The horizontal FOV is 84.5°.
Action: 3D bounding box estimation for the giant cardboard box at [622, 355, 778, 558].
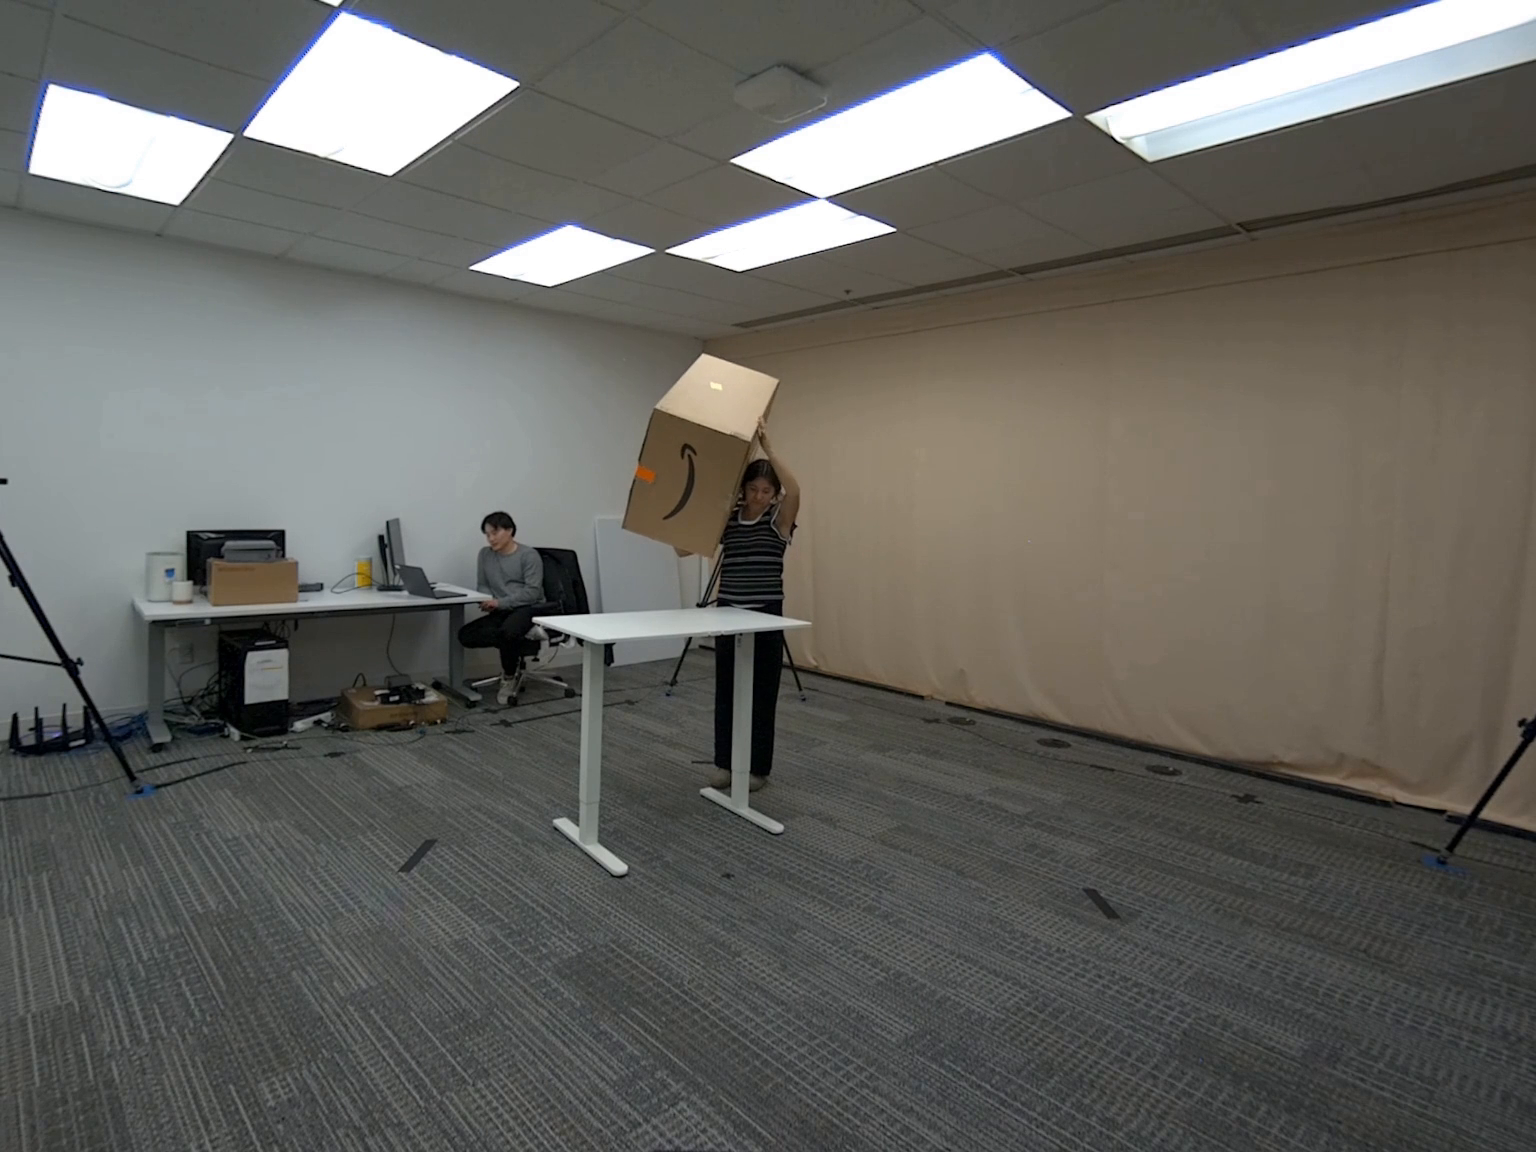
[{"bbox_3d":[-0.304,-0.613,4.006,0.426,0.571,1.036,20,28,-1],"label":"giant cardboard box"}]
